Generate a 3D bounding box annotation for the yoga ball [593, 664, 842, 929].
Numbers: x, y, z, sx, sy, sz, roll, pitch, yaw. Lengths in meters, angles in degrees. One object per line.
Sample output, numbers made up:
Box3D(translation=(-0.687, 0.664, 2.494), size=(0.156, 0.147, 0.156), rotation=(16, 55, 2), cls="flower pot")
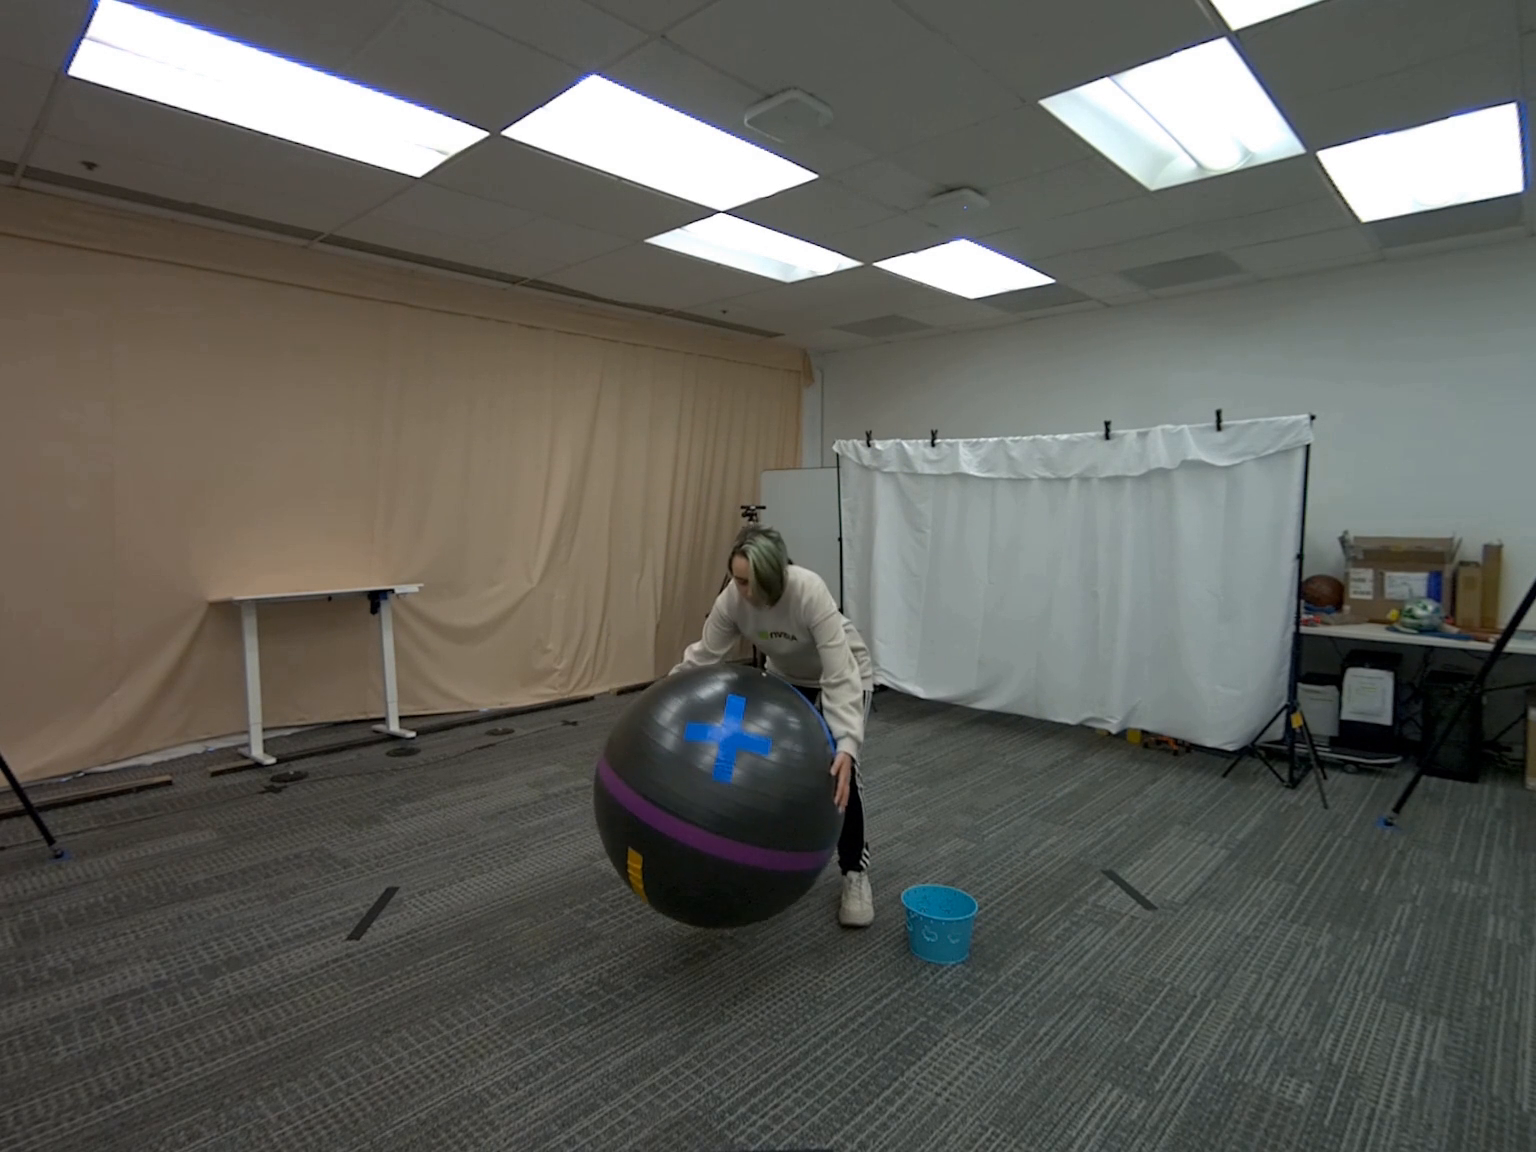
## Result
Box3D(translation=(-0.147, 0.648, 2.534), size=(0.757, 0.756, 0.760), rotation=(0, 4, -2), cls="yoga ball")
